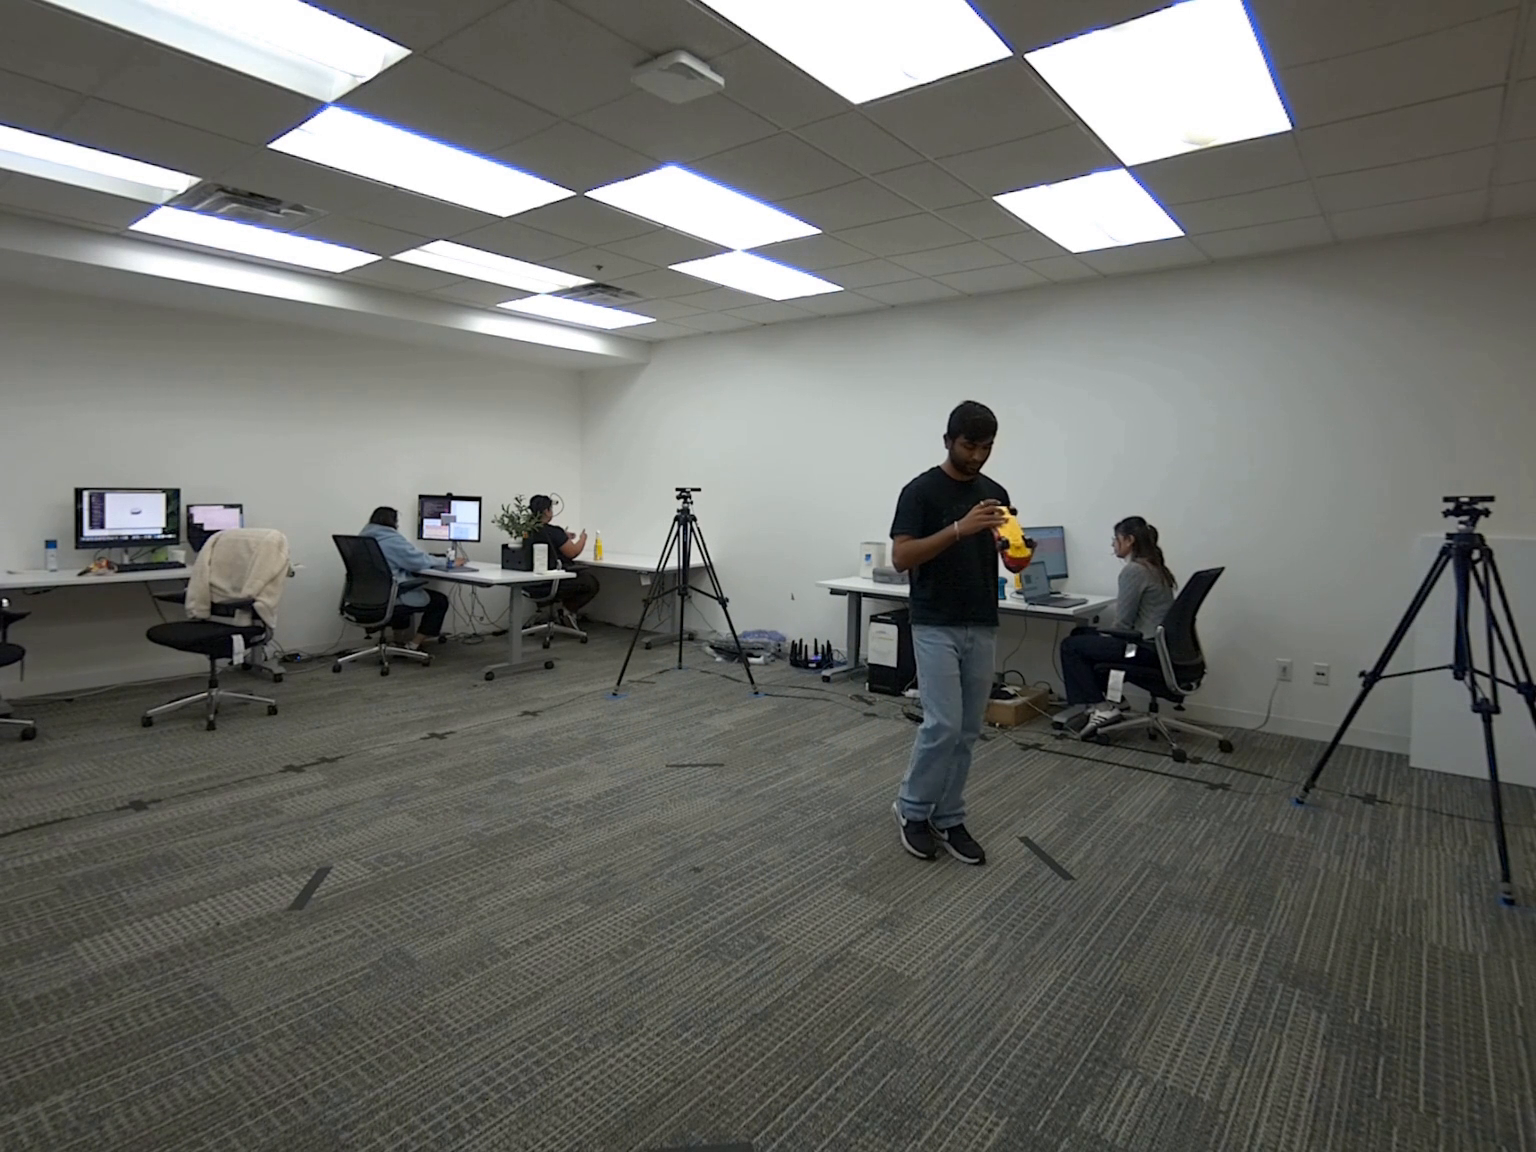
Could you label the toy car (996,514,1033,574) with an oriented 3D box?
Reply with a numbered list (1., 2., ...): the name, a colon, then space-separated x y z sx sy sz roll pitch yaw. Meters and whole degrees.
1. toy car: 0.844 -0.144 2.996 0.129 0.262 0.081 -4 -31 -9
